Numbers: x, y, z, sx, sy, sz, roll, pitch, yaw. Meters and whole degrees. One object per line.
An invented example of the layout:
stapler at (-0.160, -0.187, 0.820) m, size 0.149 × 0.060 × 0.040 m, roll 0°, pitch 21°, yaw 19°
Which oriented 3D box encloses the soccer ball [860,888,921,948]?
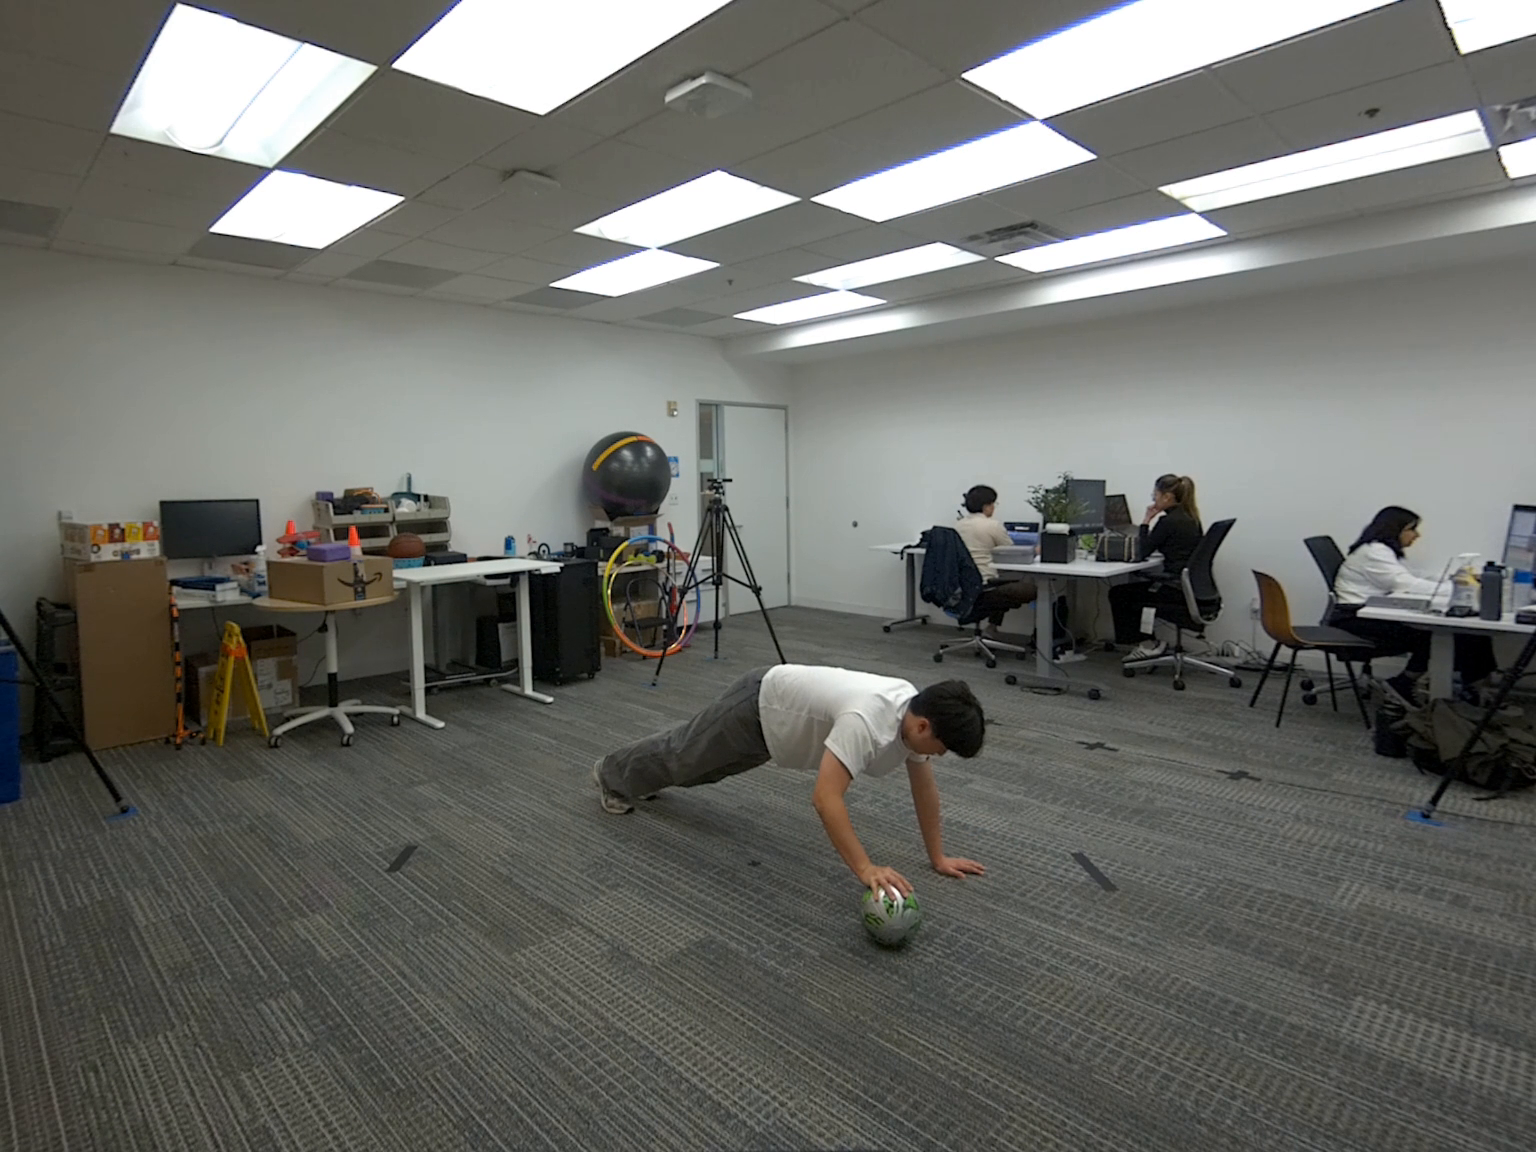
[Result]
soccer ball at (0.375, 1.012, 2.574) m, size 0.187 × 0.187 × 0.188 m, roll -1°, pitch 5°, yaw -2°
